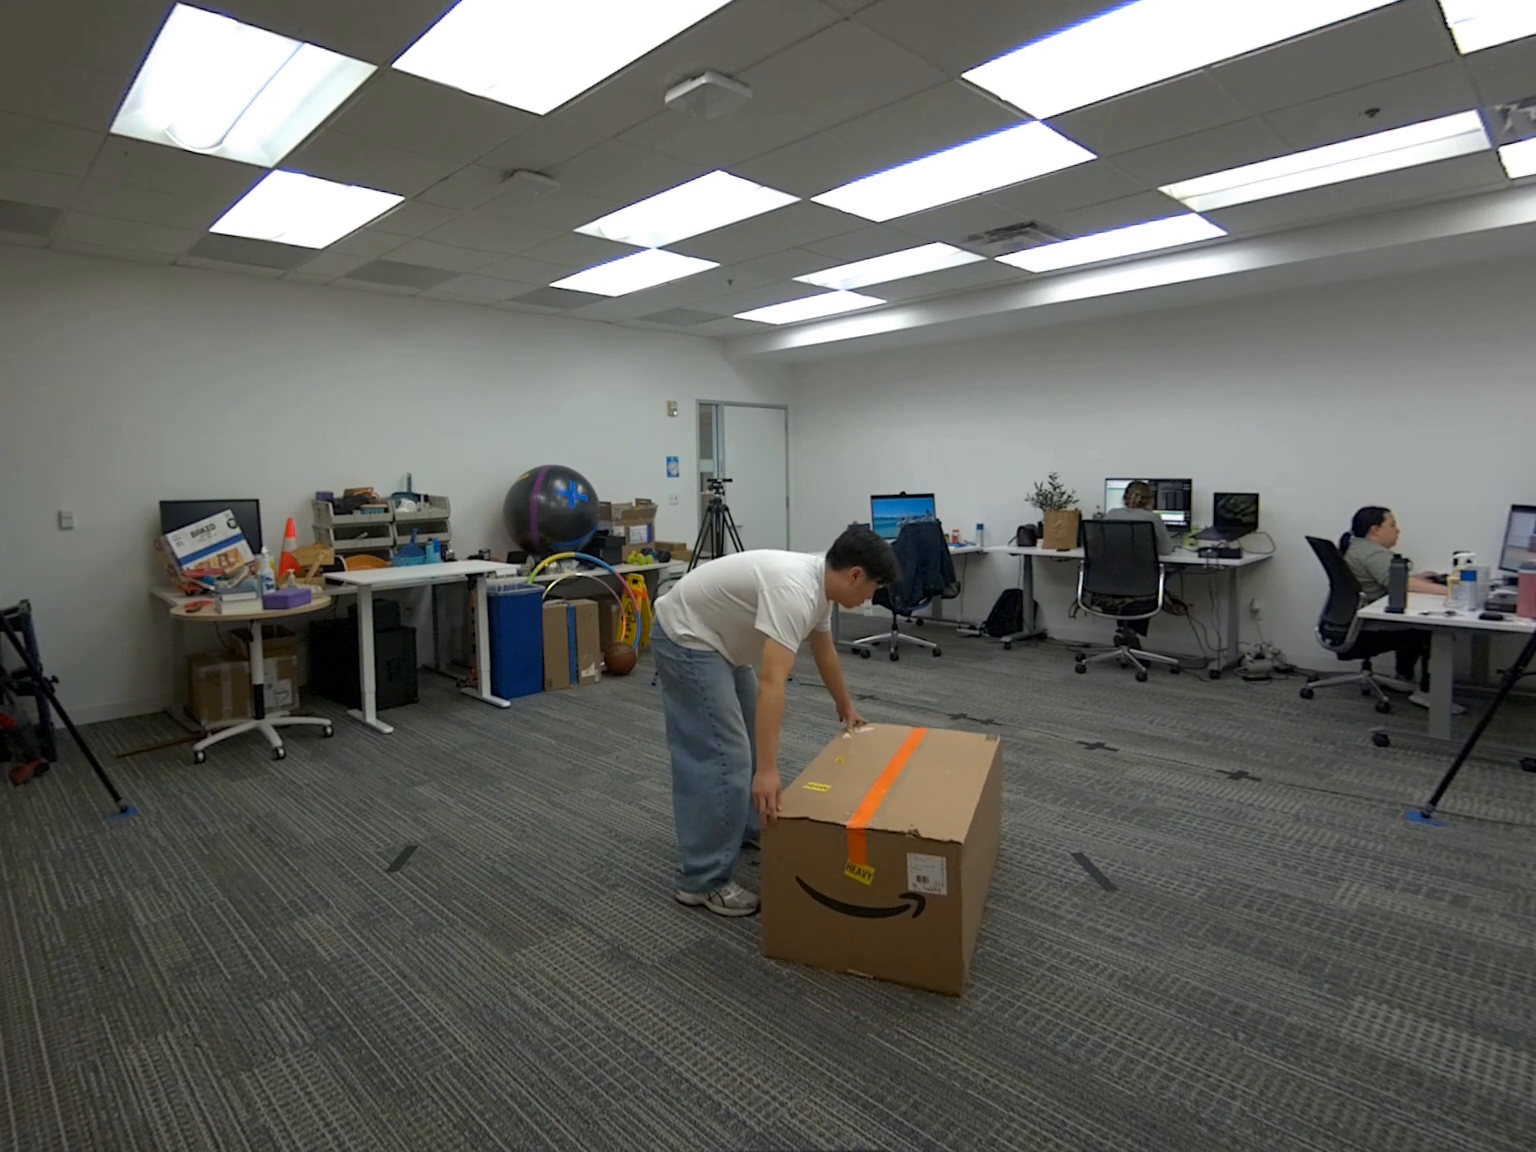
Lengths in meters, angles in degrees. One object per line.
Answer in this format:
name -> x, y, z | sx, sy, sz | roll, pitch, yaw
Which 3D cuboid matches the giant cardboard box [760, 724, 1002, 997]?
giant cardboard box -> 0.423, 0.847, 2.846 | 0.589, 0.424, 1.009 | 0, 6, 21
